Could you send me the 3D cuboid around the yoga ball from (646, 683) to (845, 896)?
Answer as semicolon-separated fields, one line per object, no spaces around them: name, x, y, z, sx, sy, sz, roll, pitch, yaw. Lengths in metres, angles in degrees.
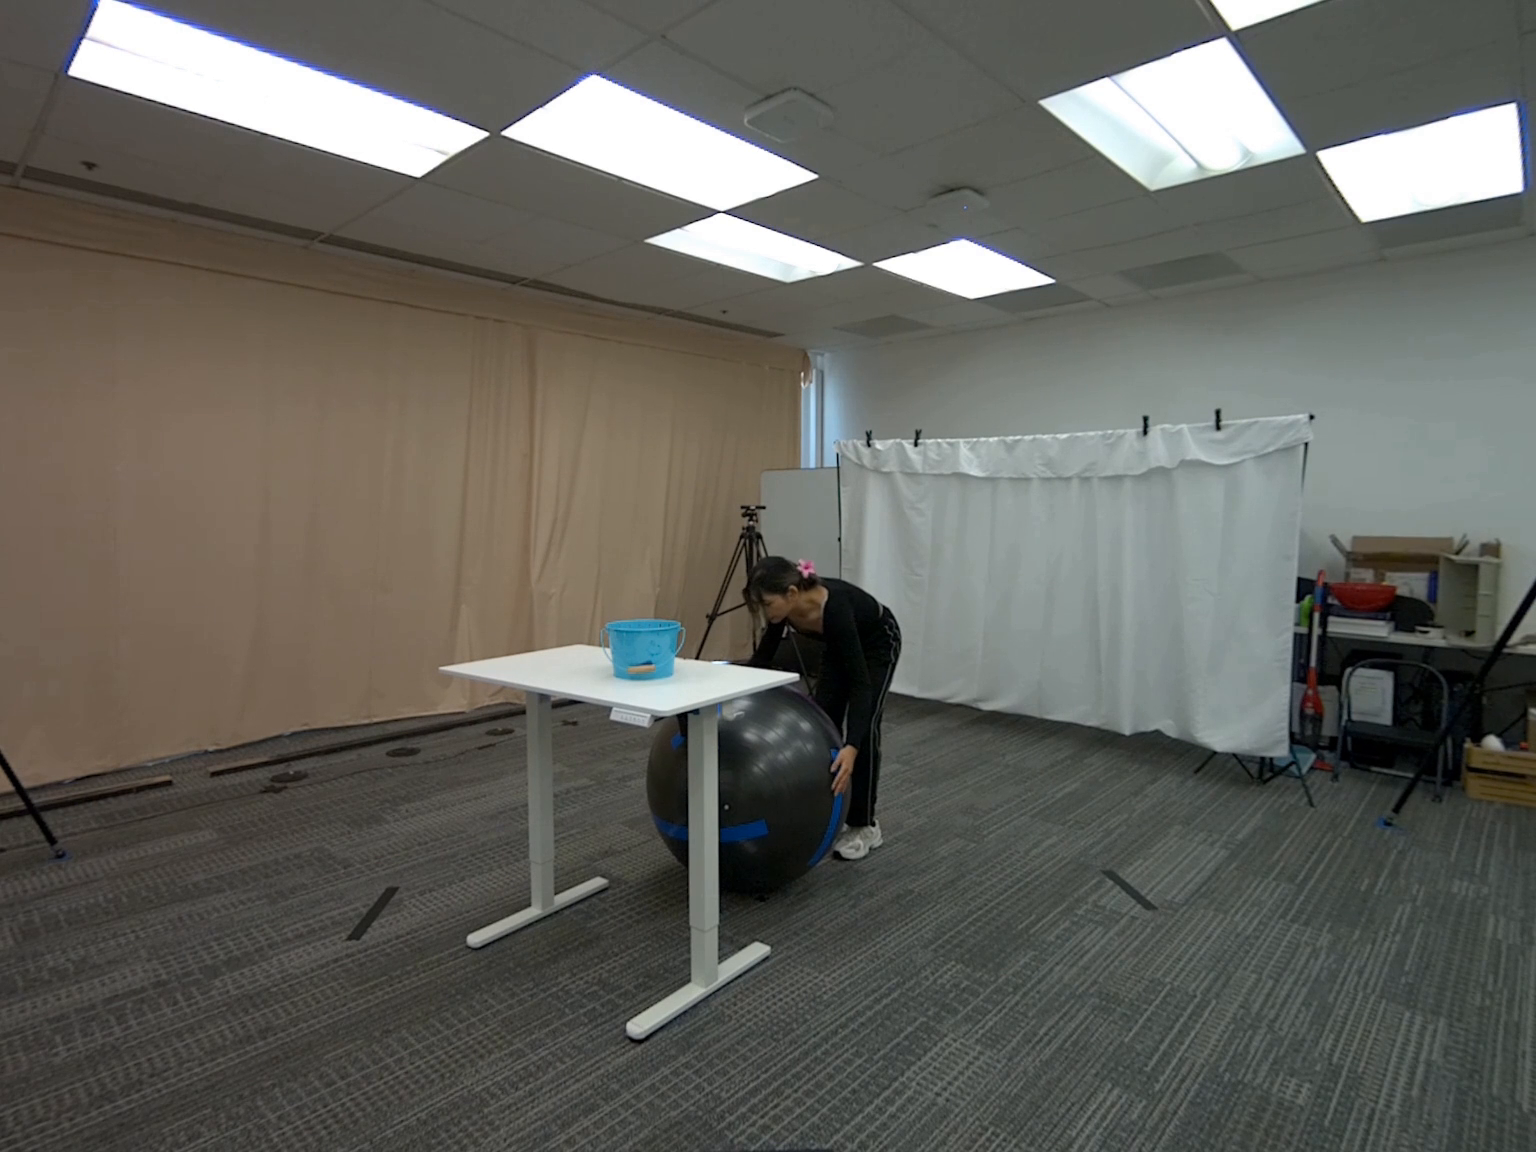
yoga ball;-0.079;0.765;3.119;0.757;0.756;0.761;0;4;-2
